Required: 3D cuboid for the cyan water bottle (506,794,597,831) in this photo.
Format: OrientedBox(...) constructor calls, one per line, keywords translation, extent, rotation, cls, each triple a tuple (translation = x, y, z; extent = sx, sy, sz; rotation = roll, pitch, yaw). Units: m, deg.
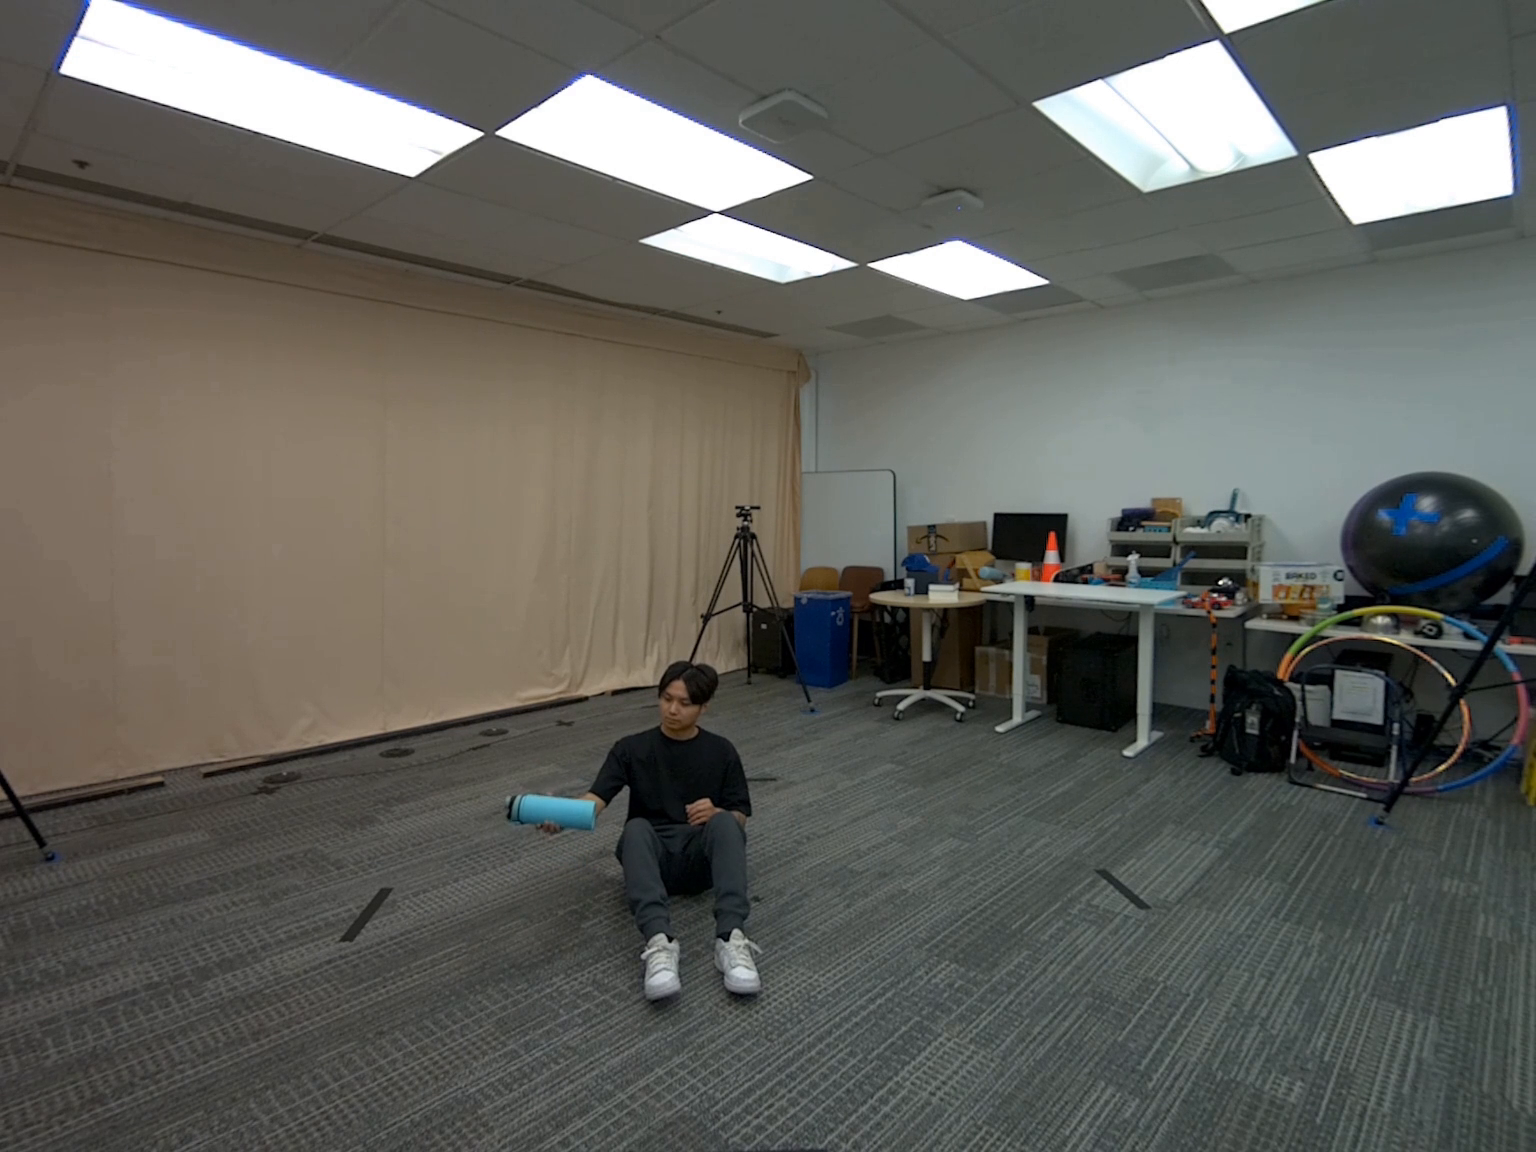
OrientedBox(translation=(-0.692, 0.744, 2.653), extent=(0.284, 0.092, 0.092), rotation=(6, 4, 2), cls="cyan water bottle")
